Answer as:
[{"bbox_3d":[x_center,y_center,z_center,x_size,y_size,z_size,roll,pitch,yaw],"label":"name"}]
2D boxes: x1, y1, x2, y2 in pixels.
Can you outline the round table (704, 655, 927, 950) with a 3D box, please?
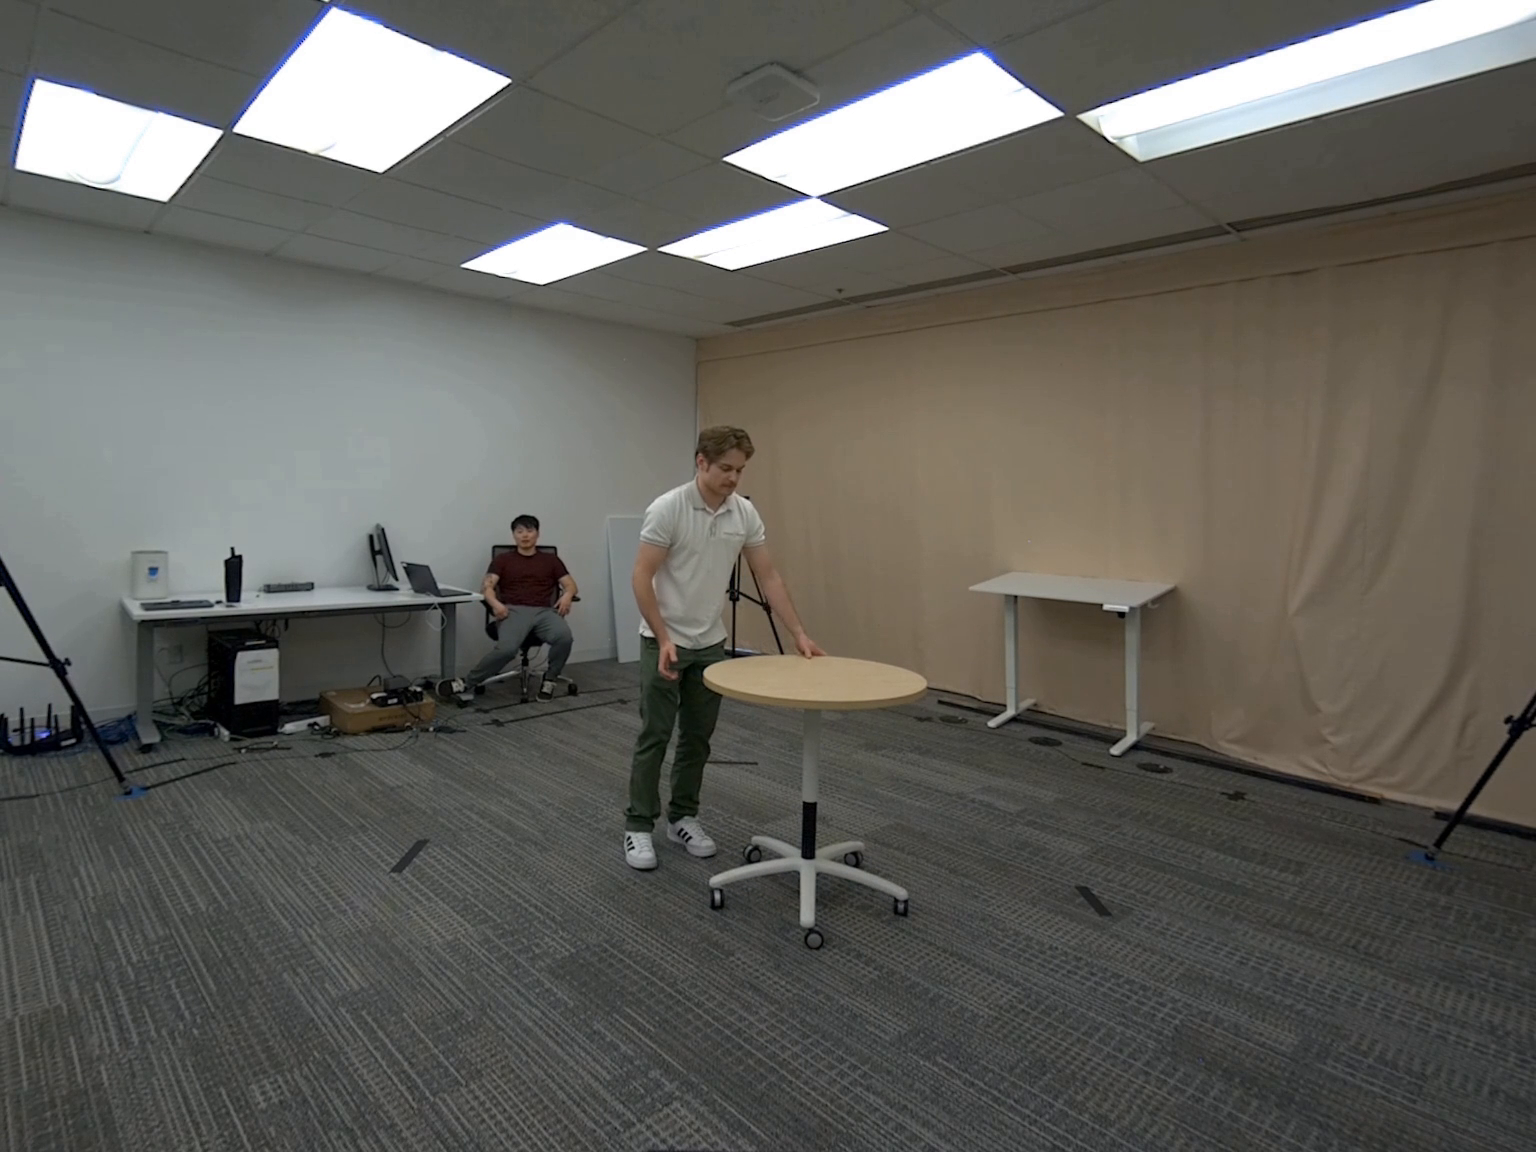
[{"bbox_3d":[0.143,0.736,2.926,0.763,0.792,0.767,1,4,-1],"label":"round table"}]
